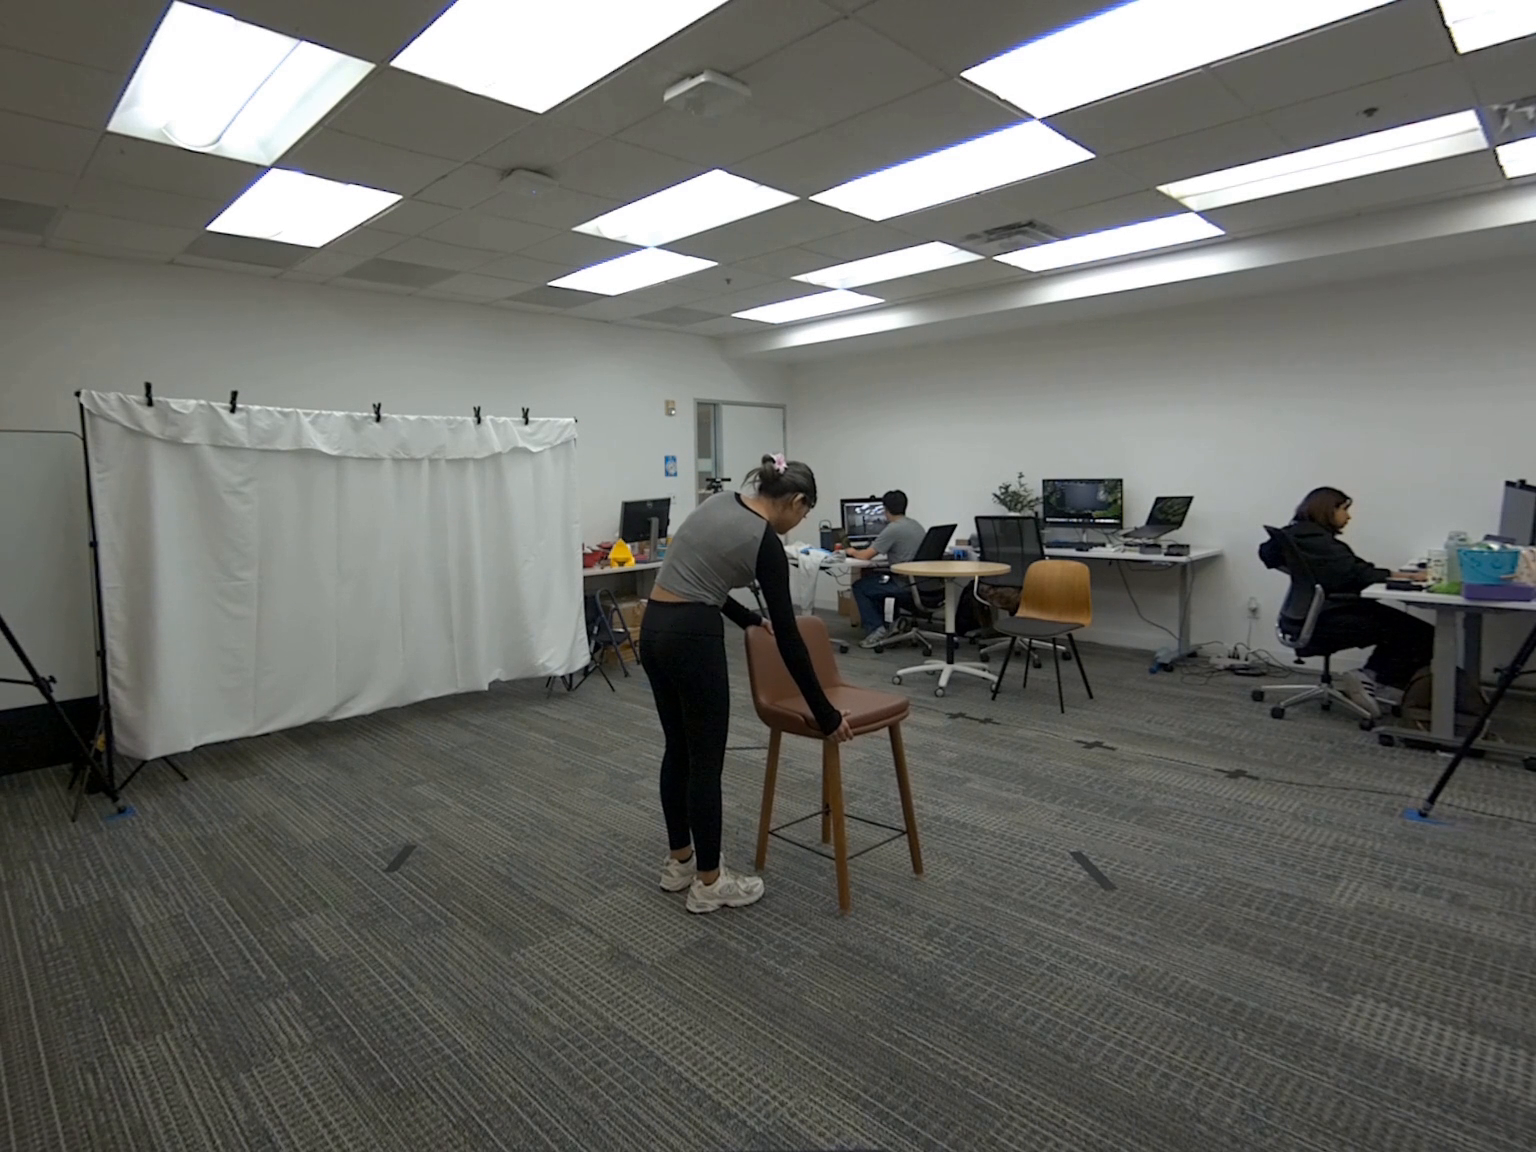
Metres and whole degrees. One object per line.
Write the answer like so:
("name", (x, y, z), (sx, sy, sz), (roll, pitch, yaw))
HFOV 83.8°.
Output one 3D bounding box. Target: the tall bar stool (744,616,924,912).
("tall bar stool", (0.225, 0.607, 3.001), (0.444, 0.890, 0.480), (-4, 1, -41))
